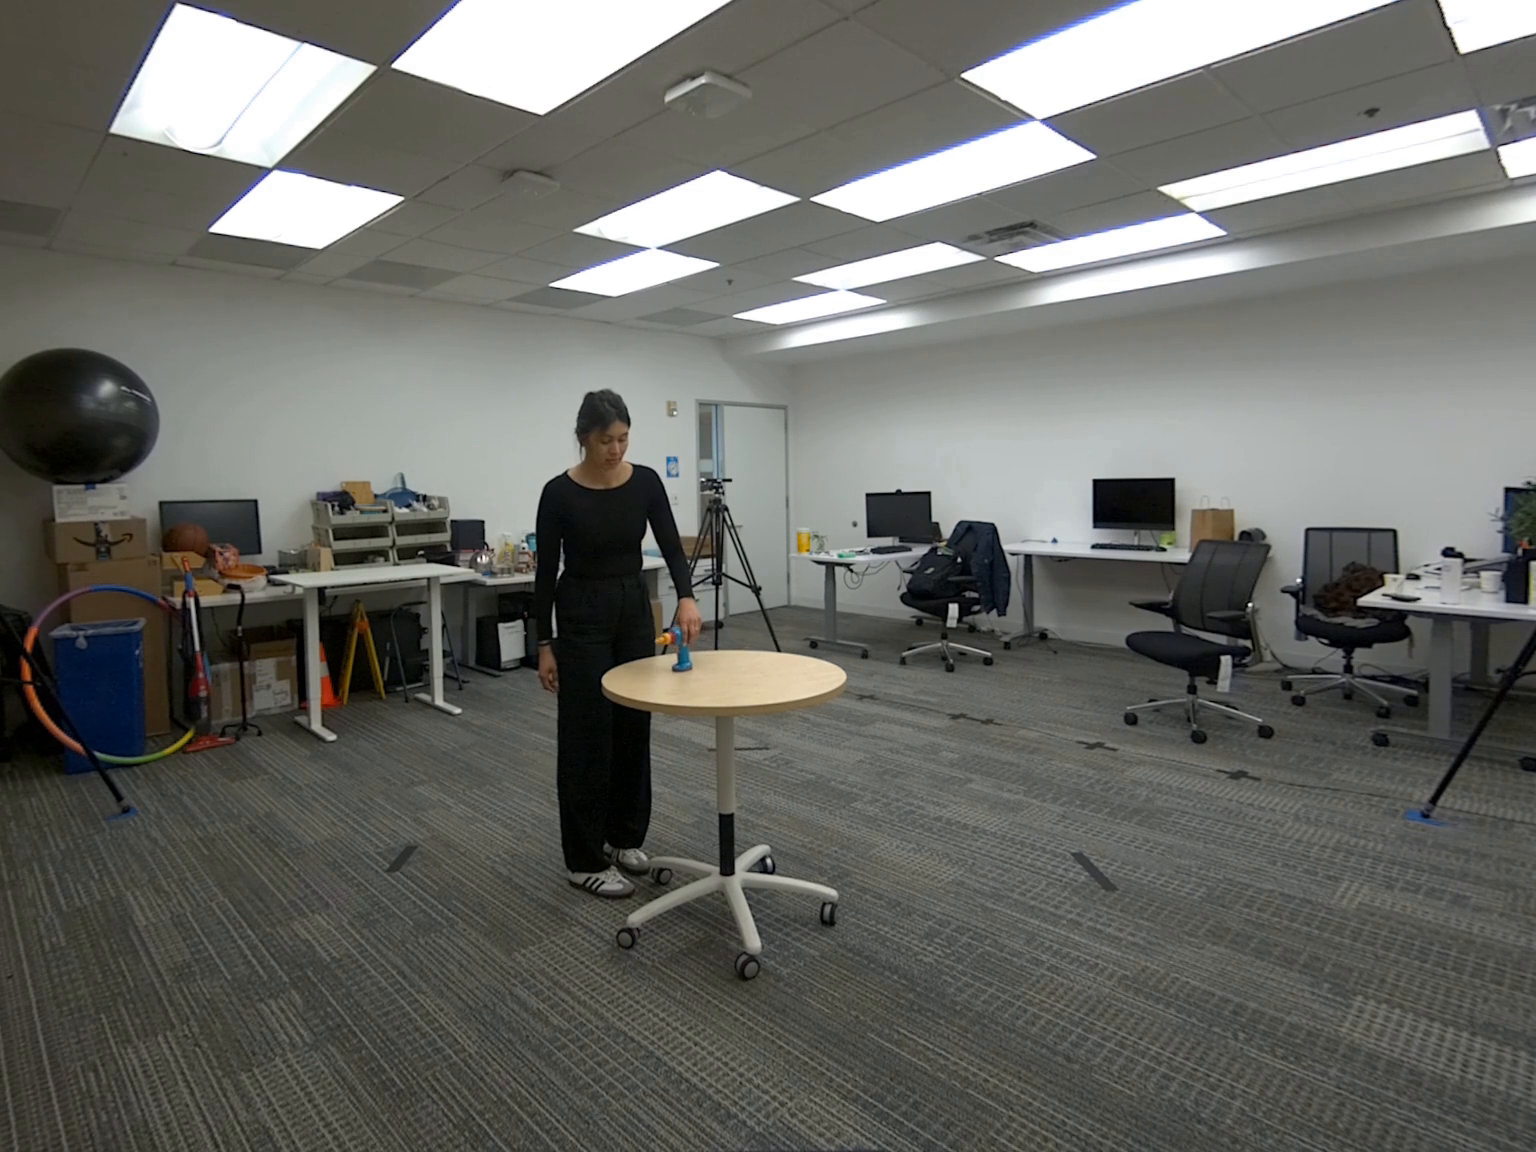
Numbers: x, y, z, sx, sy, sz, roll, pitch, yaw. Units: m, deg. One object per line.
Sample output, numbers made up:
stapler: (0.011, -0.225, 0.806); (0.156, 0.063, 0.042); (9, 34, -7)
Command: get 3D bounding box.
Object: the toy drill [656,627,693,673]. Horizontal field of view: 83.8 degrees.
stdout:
toy drill: (-0.292, 0.235, 2.727); (0.063, 0.146, 0.166); (-1, 4, 31)
